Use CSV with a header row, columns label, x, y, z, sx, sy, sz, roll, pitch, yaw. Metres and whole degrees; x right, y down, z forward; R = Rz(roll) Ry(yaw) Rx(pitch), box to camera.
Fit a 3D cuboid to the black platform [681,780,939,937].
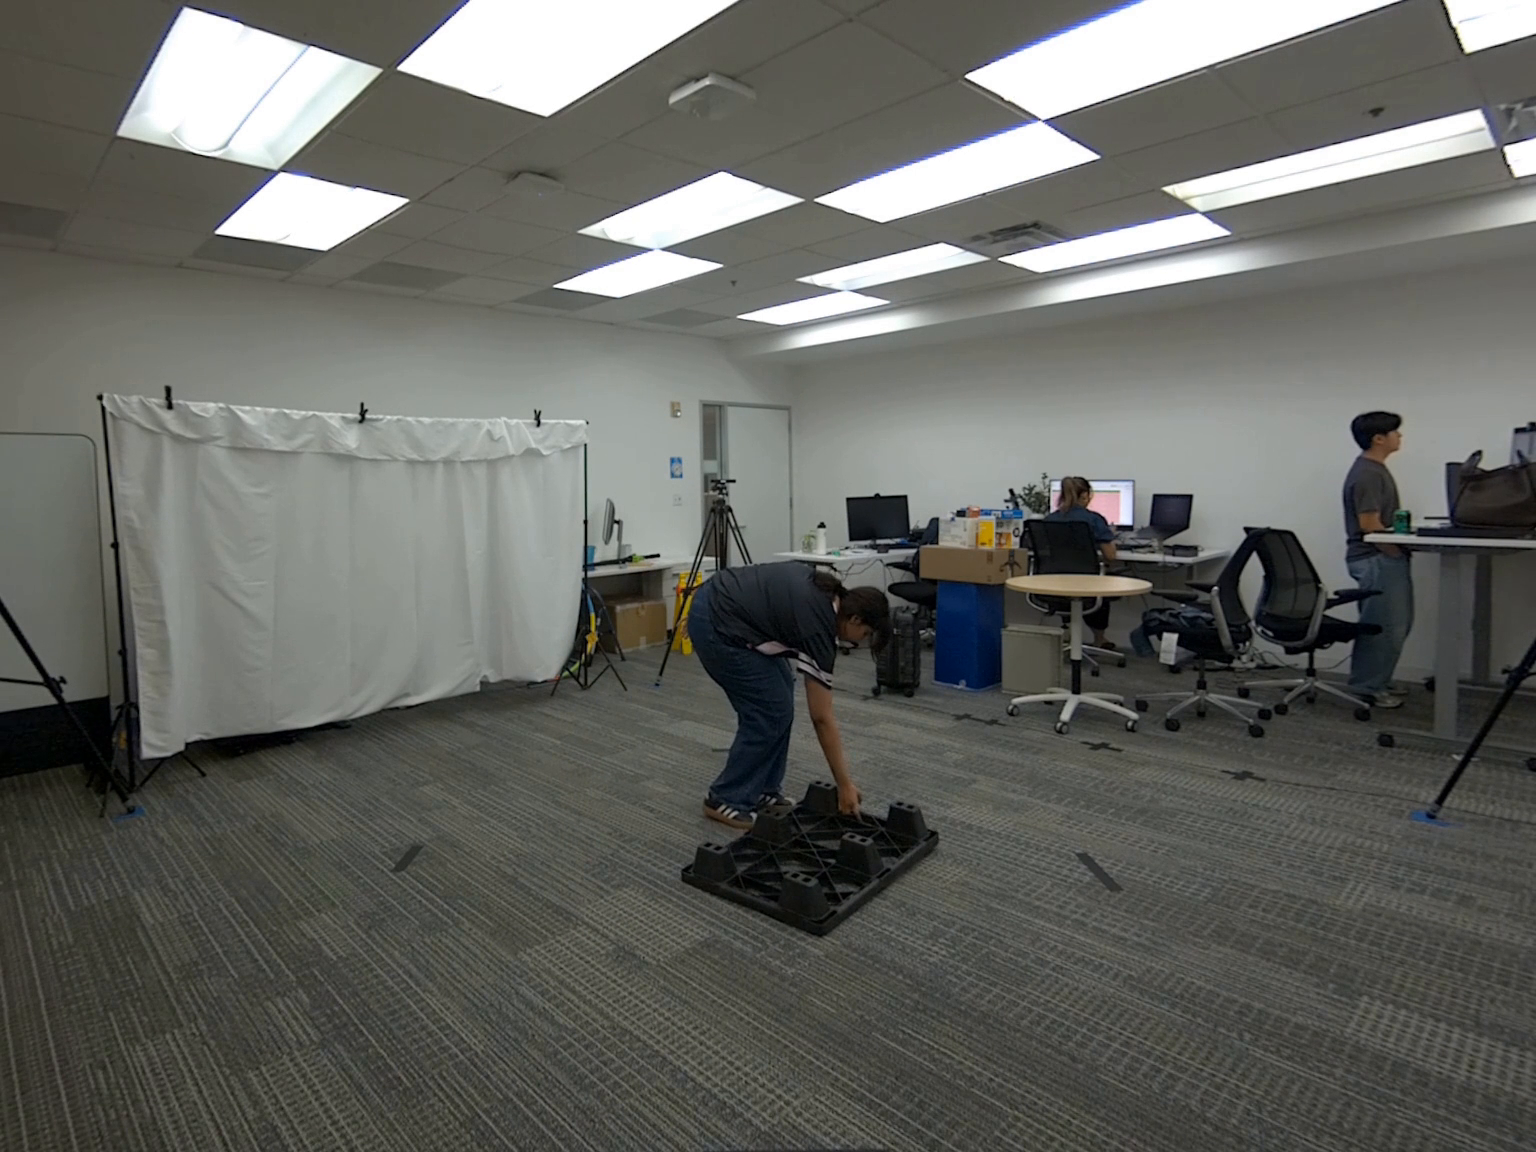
label,x,y,z,sx,sy,sz,roll,pitch,yaw
black platform,0.170,0.968,3.082,0.623,0.142,0.787,3,10,39
